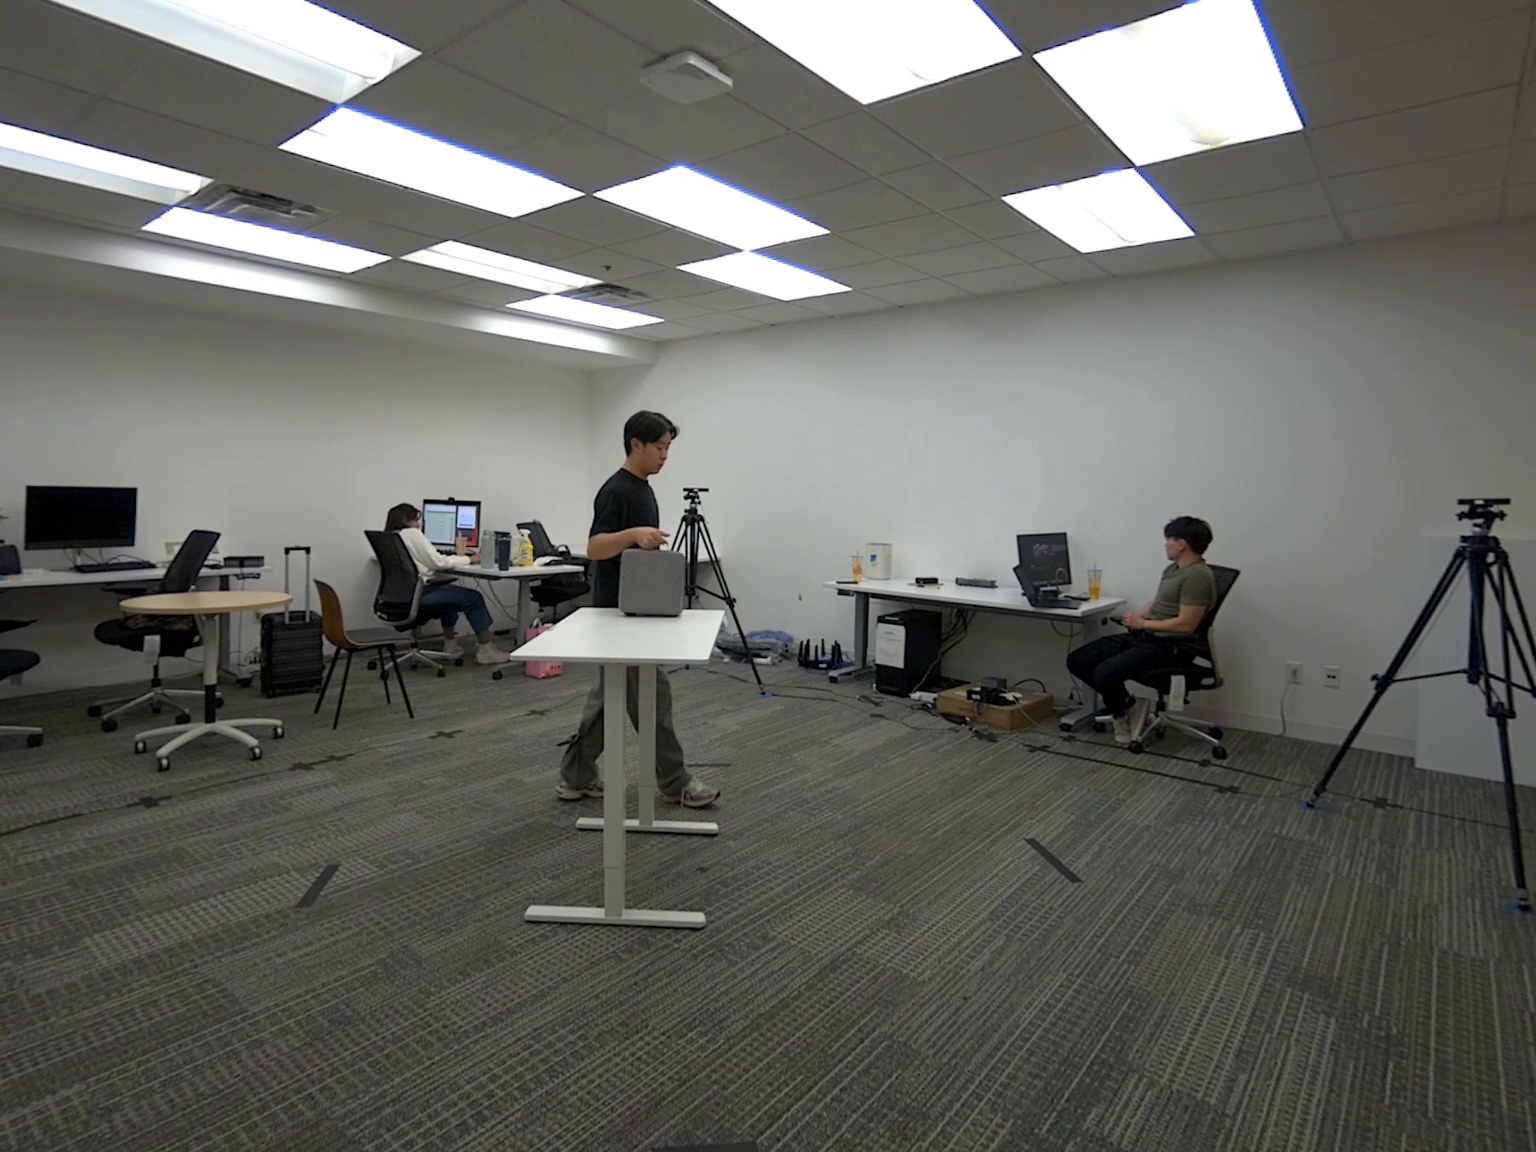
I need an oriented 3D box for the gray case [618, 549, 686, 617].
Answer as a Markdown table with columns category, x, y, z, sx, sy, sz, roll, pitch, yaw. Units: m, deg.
| category | x | y | z | sx | sy | sz | roll | pitch | yaw |
| --- | --- | --- | --- | --- | --- | --- | --- | --- | --- |
| gray case | -0.465 | 0.012 | 3.364 | 0.264 | 0.288 | 0.102 | 2 | -2 | 3 |
